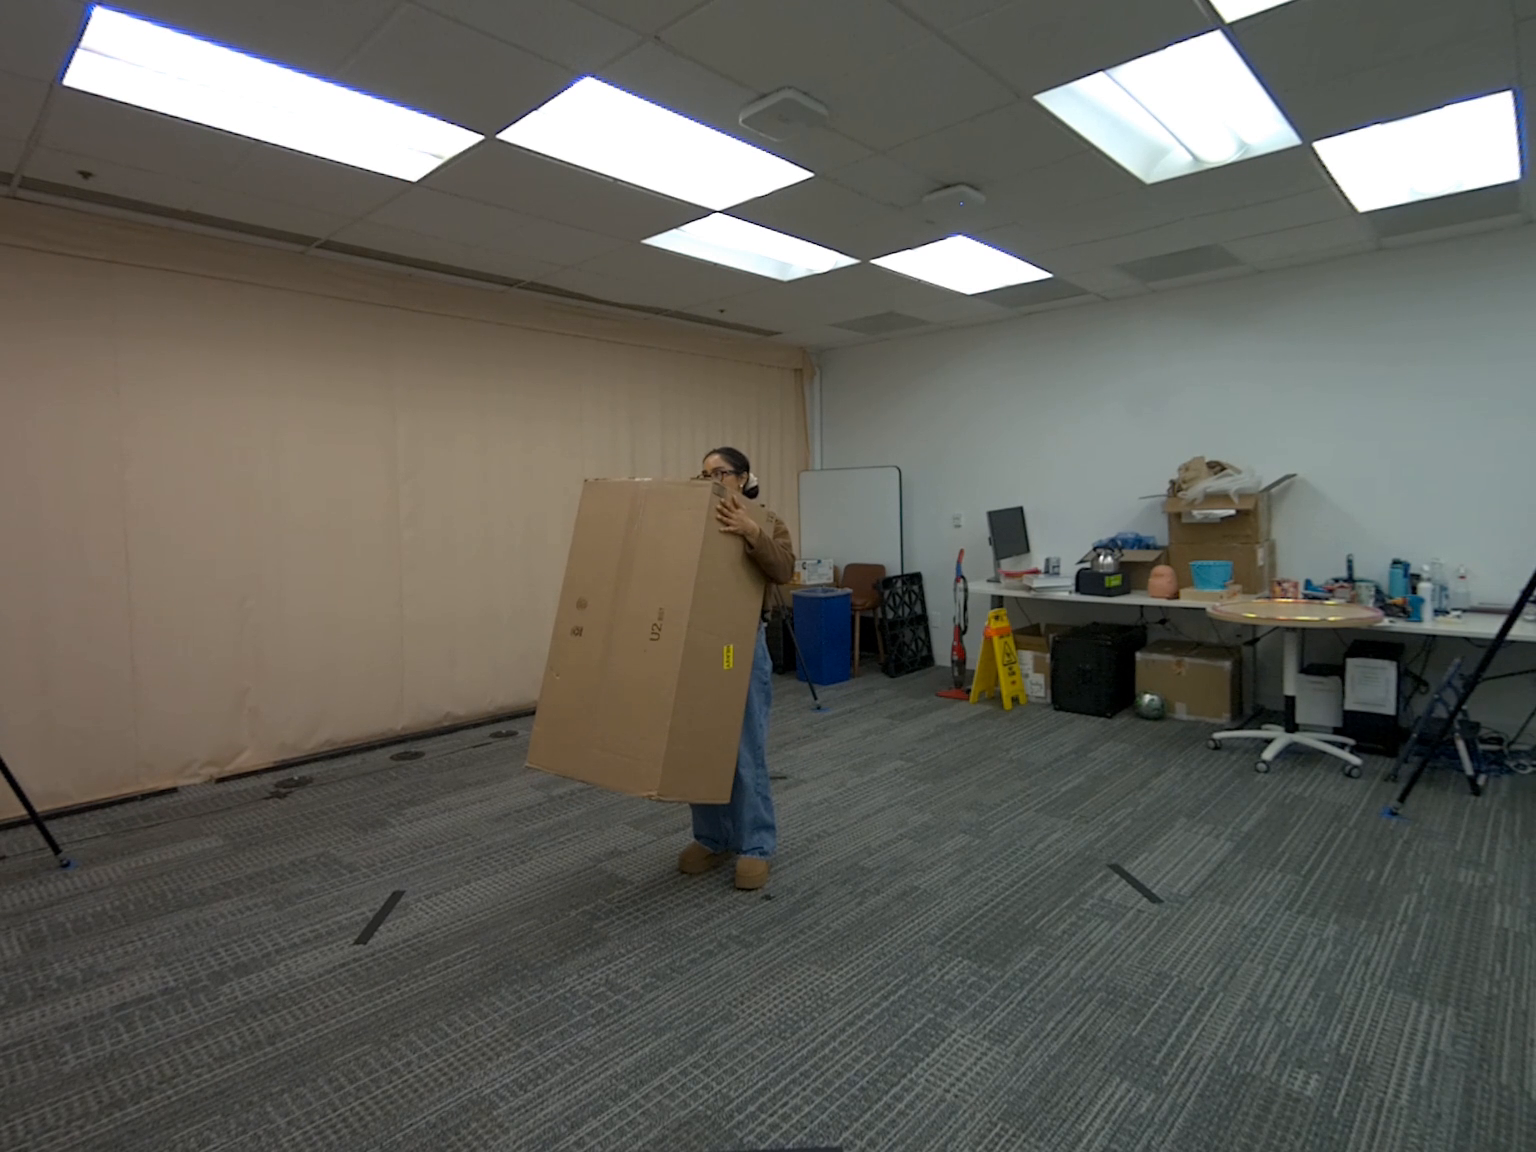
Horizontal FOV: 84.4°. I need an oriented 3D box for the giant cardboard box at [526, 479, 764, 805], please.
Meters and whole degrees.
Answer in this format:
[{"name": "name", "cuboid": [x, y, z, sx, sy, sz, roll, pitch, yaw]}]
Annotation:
[{"name": "giant cardboard box", "cuboid": [-0.401, 0.215, 2.943, 0.595, 1.030, 0.411, 2, -13, 34]}]
